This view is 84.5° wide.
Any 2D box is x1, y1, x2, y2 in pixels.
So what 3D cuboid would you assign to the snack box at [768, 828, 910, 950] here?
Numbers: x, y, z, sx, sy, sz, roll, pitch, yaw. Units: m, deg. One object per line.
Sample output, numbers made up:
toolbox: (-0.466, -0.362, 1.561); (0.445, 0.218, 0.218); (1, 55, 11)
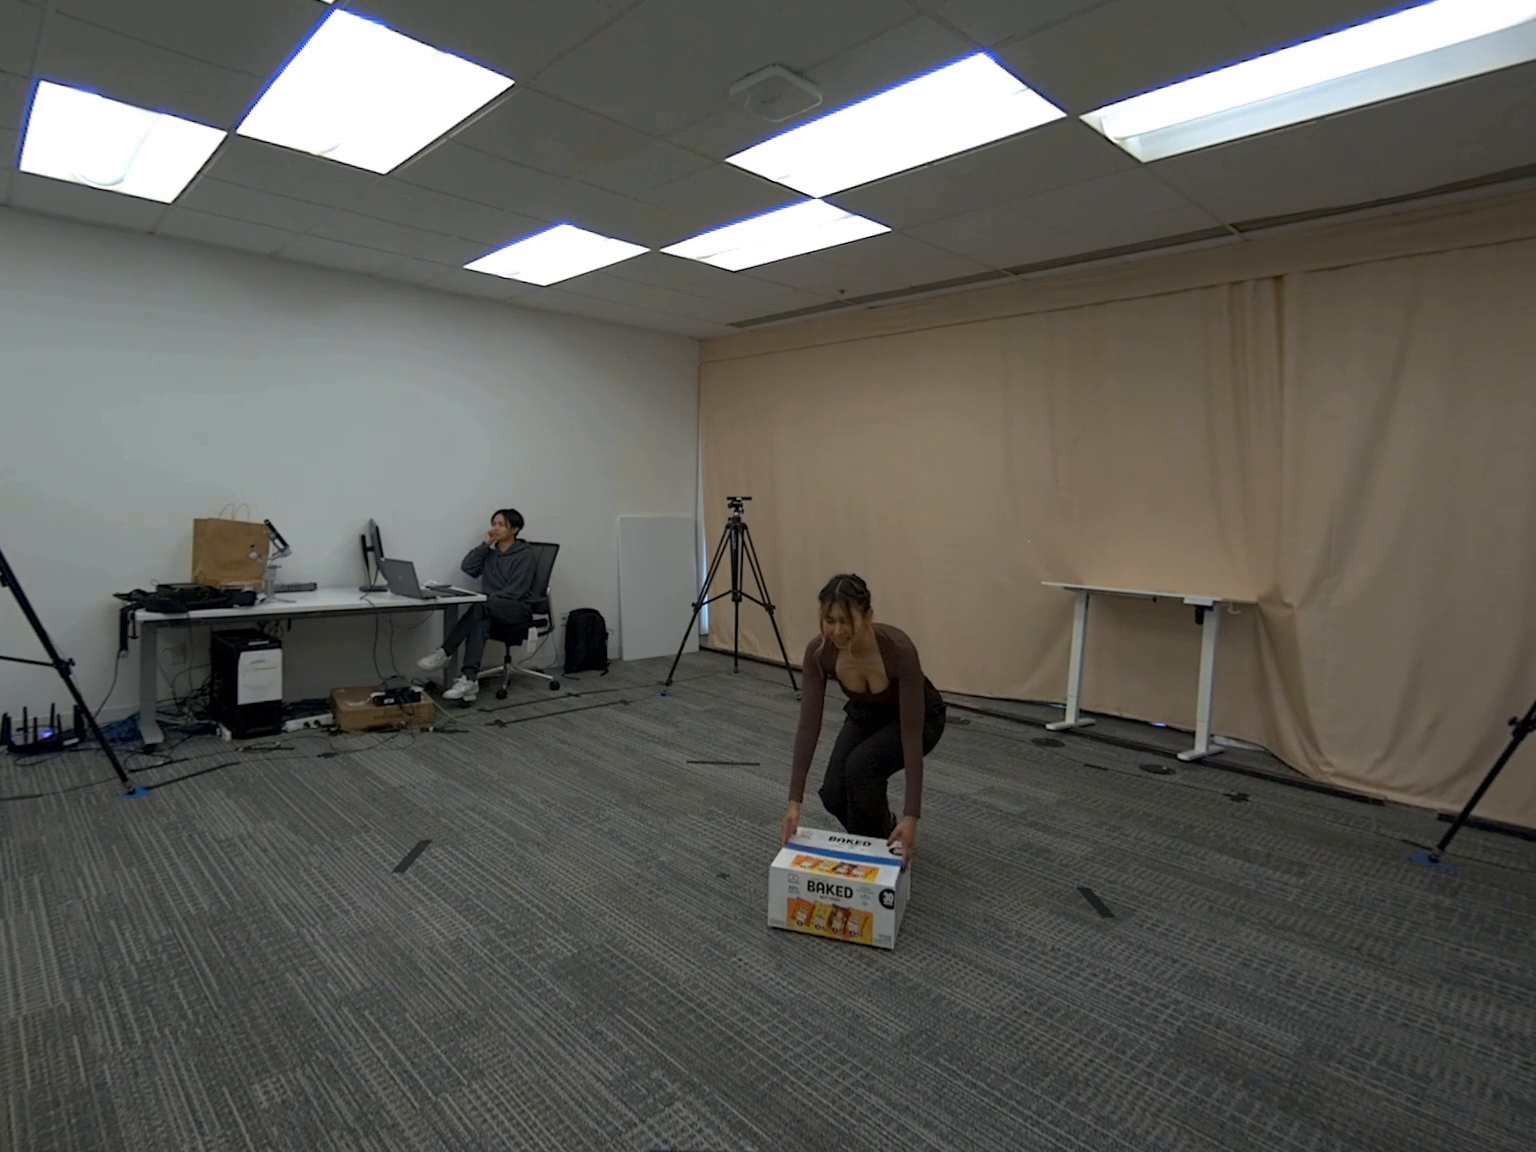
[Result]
snack box: (0.240, 1.015, 2.799); (0.411, 0.205, 0.336); (3, 6, 18)
